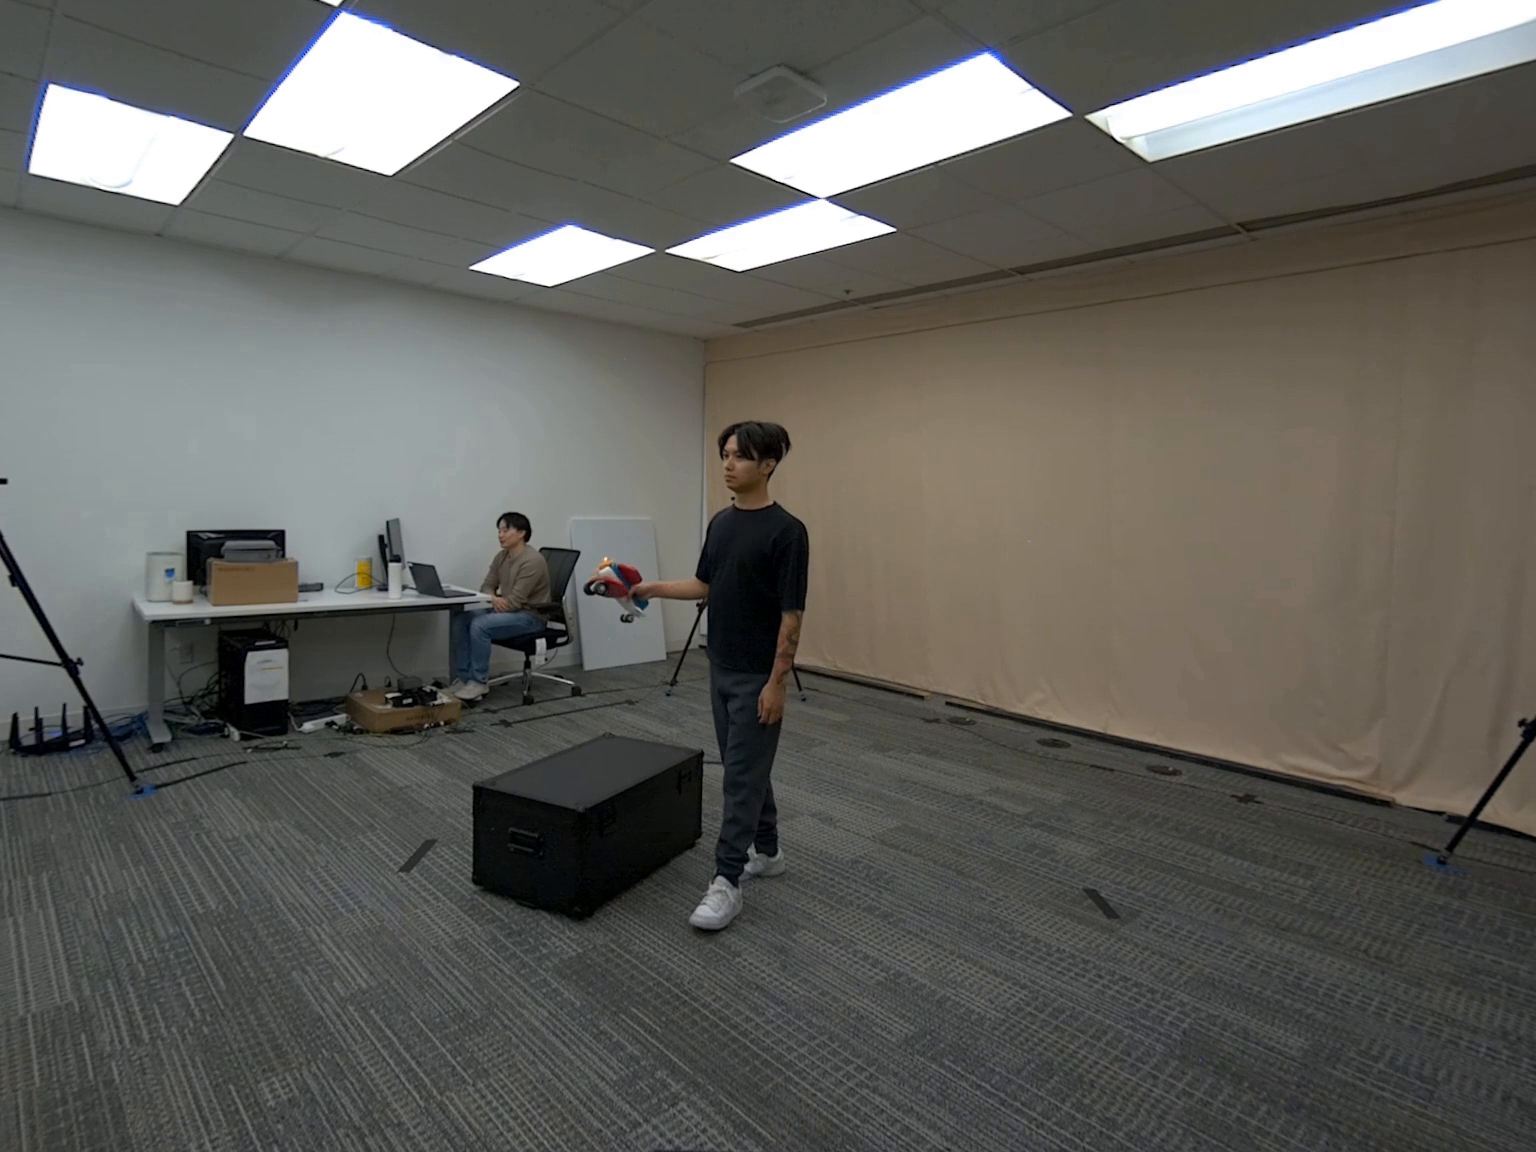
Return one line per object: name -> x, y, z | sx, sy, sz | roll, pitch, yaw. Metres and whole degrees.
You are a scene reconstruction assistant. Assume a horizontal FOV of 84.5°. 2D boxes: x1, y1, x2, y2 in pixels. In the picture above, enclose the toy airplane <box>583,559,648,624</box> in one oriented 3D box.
toy airplane -> -0.587, 0.053, 3.236 | 0.257, 0.157, 0.251 | 19, -26, 29
